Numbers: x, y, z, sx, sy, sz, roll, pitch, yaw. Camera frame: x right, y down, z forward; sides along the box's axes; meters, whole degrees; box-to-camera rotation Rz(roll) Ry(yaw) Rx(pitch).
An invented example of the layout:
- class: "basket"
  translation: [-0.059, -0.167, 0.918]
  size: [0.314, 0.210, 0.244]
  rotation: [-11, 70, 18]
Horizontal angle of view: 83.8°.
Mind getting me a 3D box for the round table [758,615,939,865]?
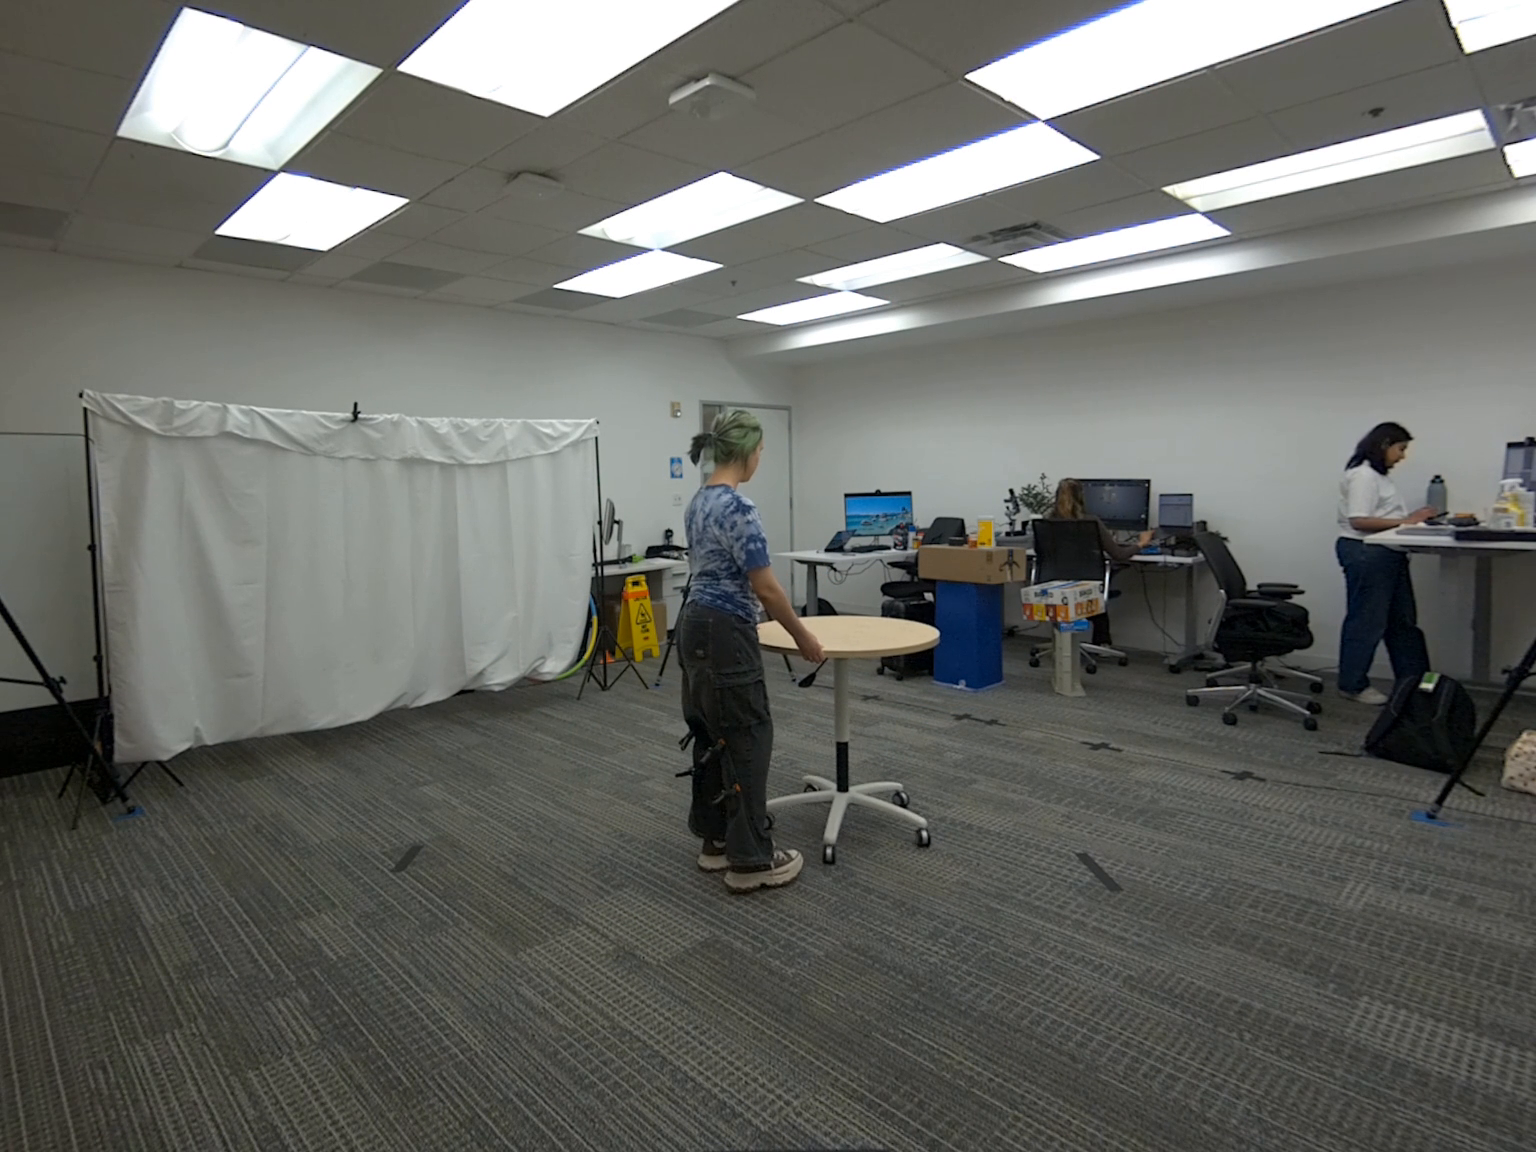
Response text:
- class: "round table"
  translation: [0.297, 0.614, 3.417]
  size: [0.763, 0.791, 0.768]
  rotation: [-1, 5, -2]
